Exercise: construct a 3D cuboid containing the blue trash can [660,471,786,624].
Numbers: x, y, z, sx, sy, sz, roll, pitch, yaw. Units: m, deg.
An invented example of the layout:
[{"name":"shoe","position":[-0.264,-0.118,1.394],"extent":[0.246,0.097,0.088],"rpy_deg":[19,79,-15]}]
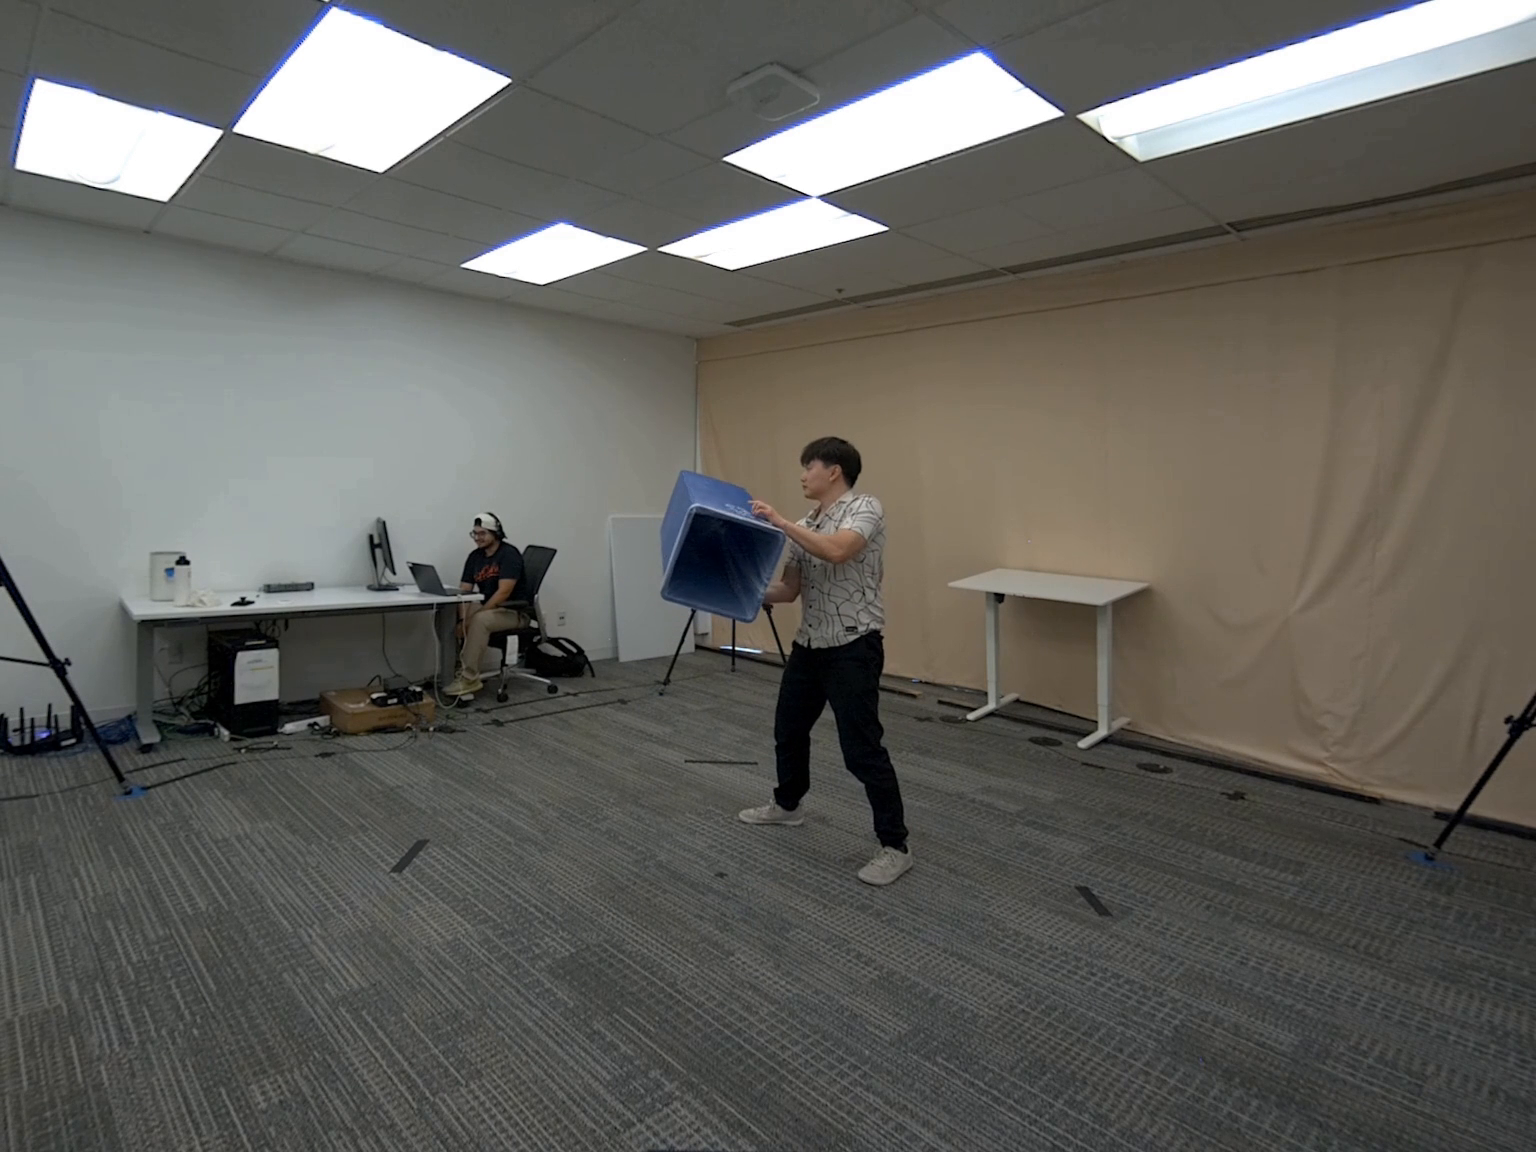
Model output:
[{"name":"blue trash can","position":[-0.227,-0.164,3.306],"extent":[0.373,0.372,0.727],"rpy_deg":[16,16,-15]}]
